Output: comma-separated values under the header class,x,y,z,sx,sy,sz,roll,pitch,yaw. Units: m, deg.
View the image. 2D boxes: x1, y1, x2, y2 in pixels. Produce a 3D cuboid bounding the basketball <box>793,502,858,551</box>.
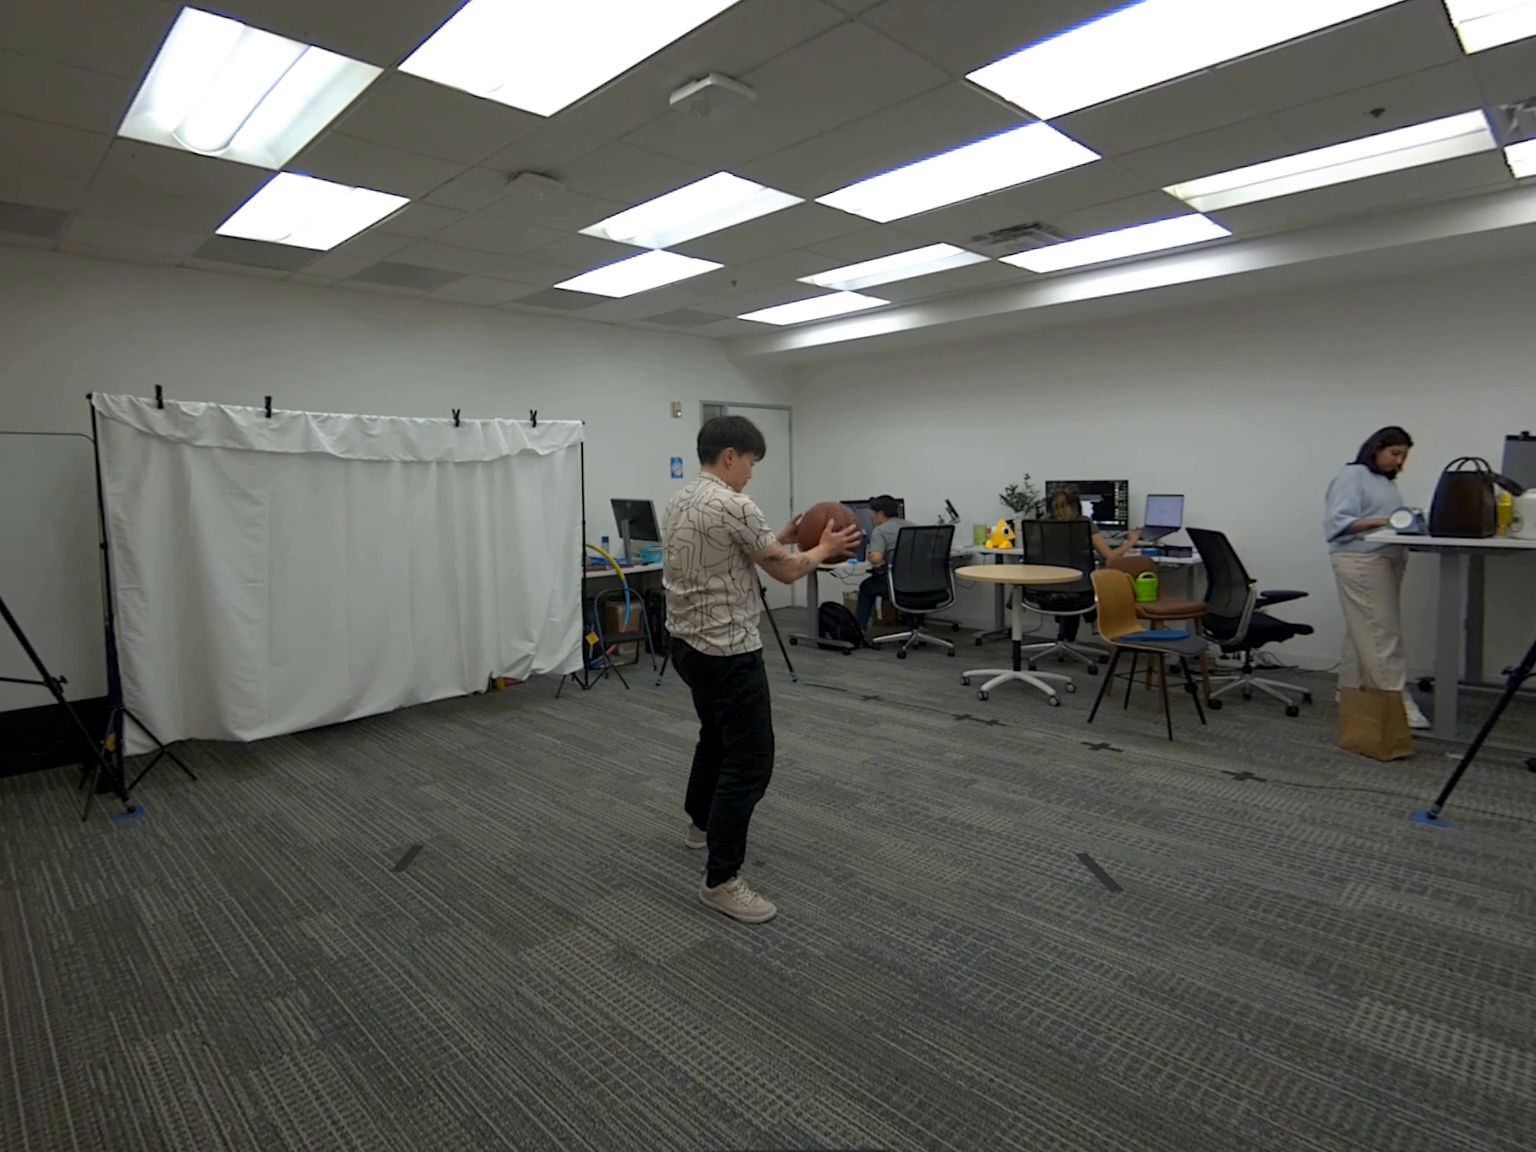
class,x,y,z,sx,sy,sz,roll,pitch,yaw
basketball,0.230,-0.156,3.210,0.236,0.235,0.237,-1,5,-2
